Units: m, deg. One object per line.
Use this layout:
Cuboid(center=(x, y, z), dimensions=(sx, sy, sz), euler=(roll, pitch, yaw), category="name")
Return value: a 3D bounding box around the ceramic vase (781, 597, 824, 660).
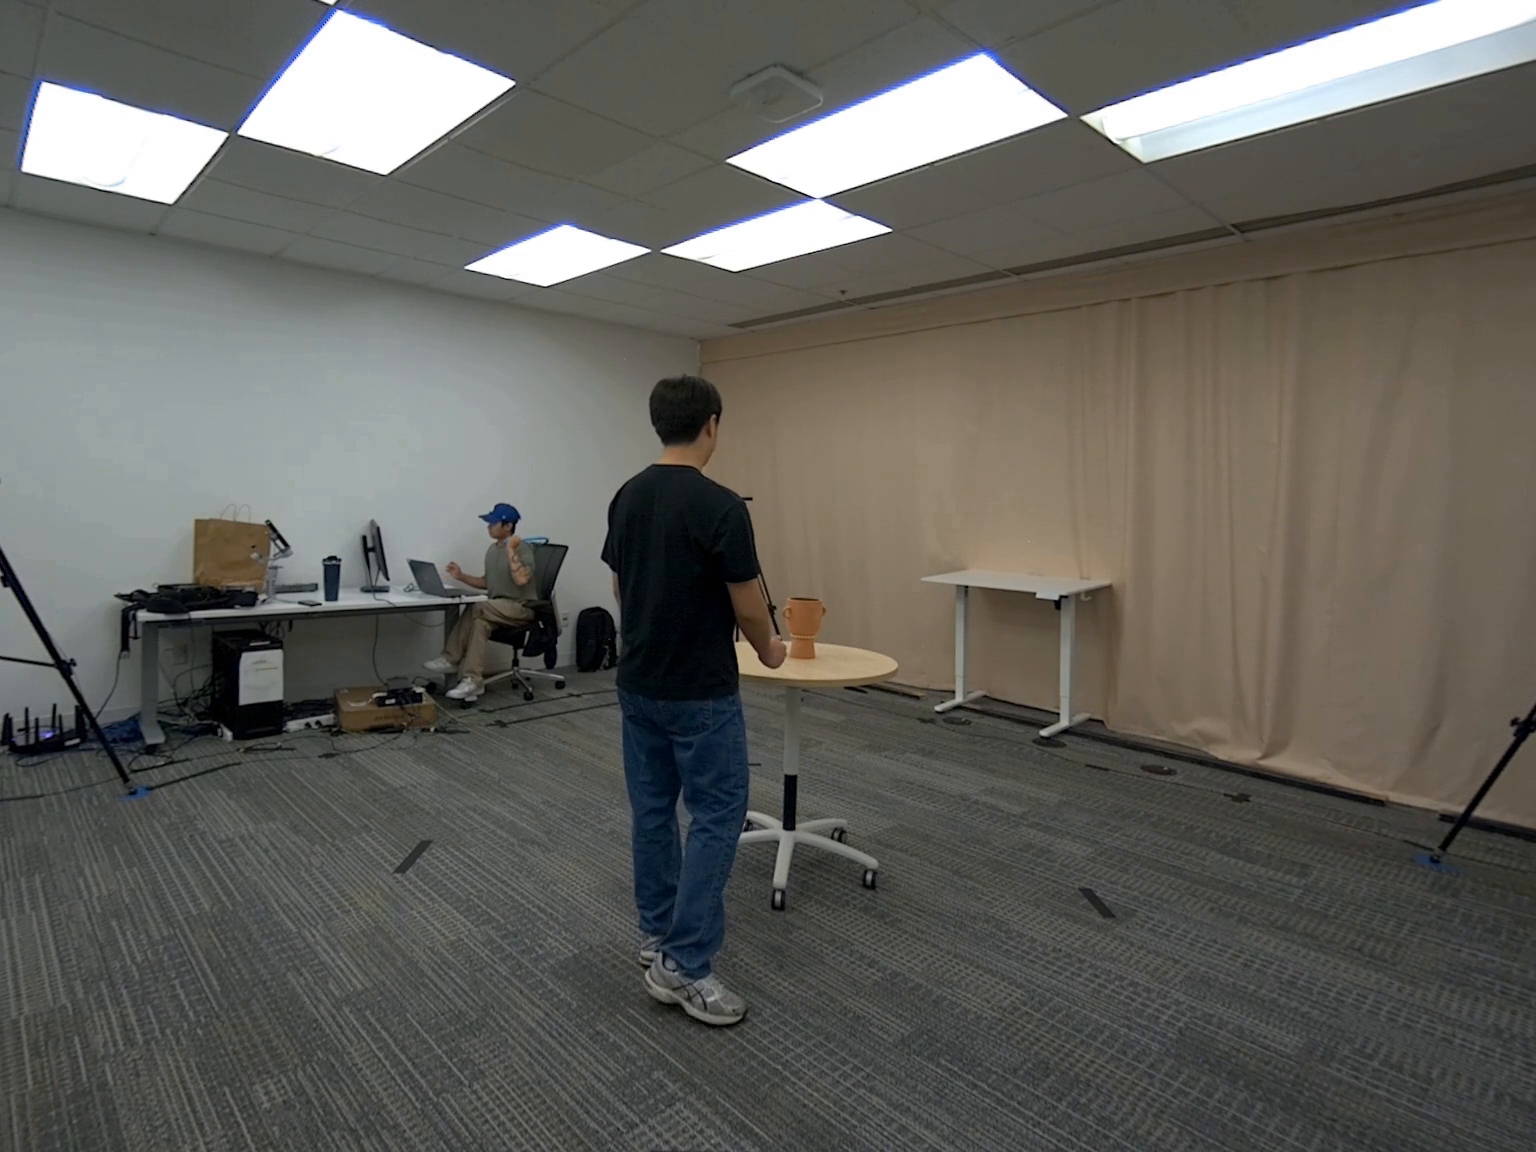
Cuboid(center=(0.131, 0.202, 3.206), dimensions=(0.160, 0.219, 0.133), euler=(3, 2, 13), category="ceramic vase")
